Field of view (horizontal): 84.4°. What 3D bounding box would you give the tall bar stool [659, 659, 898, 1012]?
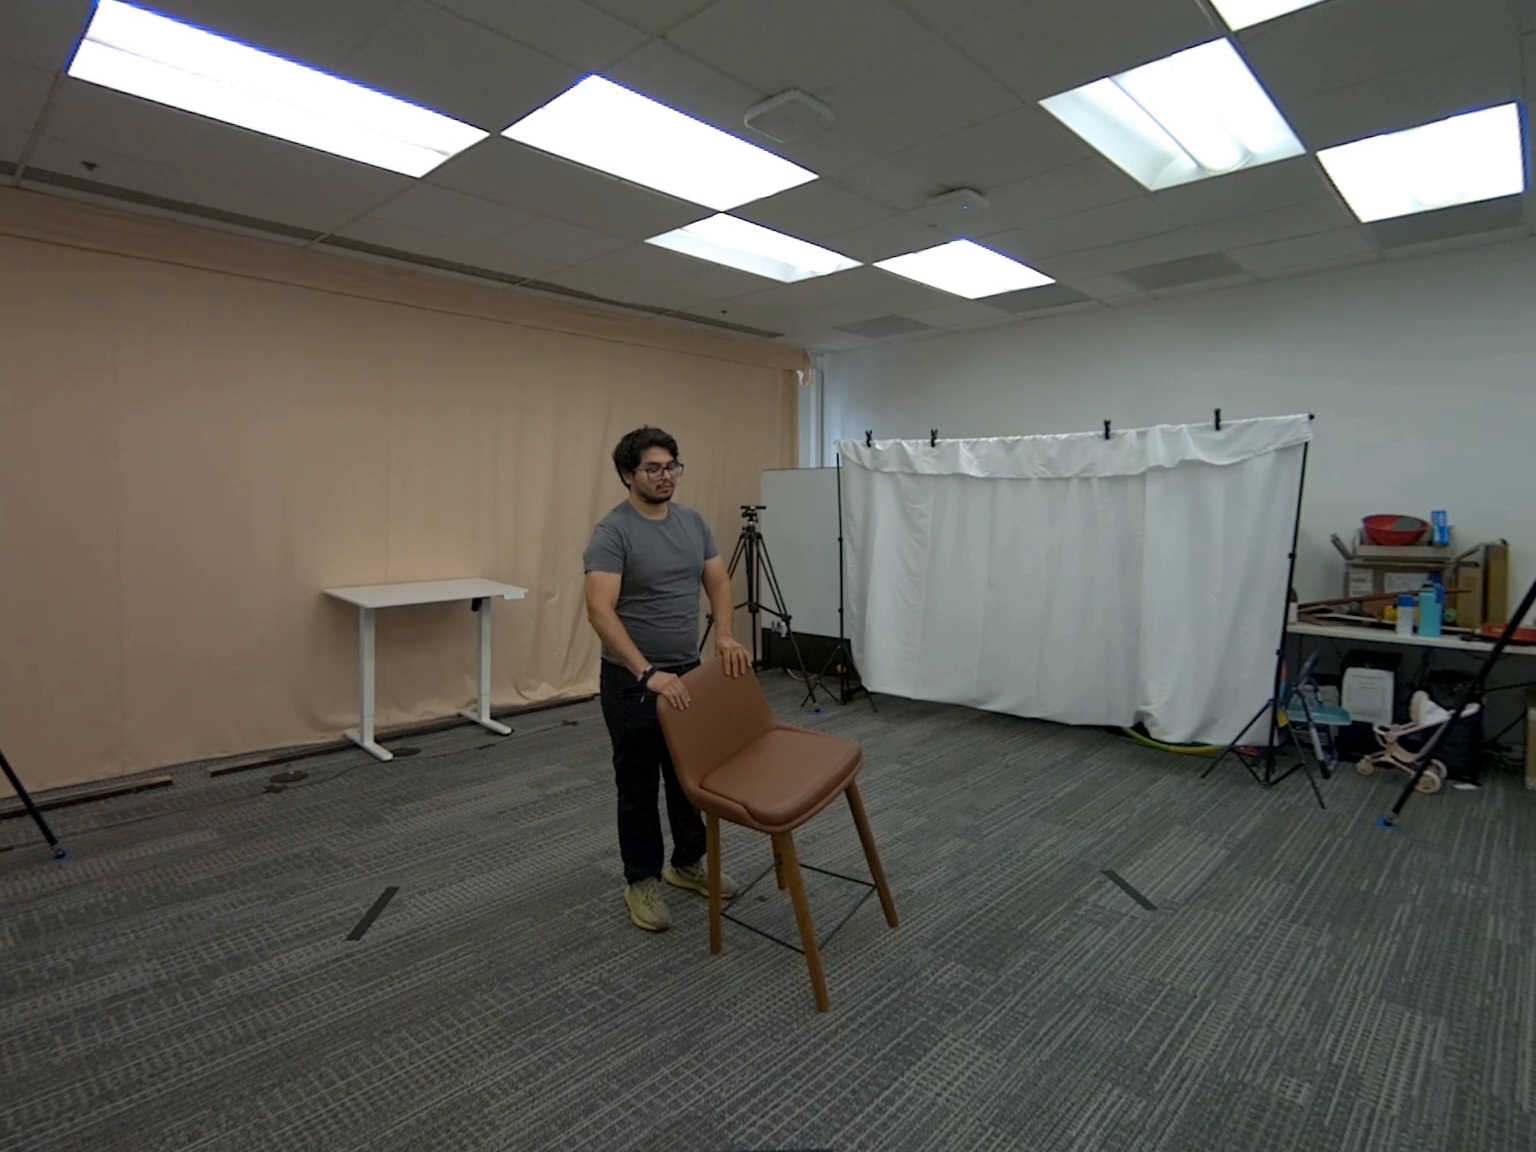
[{"bbox_3d":[0.031,0.714,2.508,0.482,0.881,0.446,-1,15,42],"label":"tall bar stool"}]
